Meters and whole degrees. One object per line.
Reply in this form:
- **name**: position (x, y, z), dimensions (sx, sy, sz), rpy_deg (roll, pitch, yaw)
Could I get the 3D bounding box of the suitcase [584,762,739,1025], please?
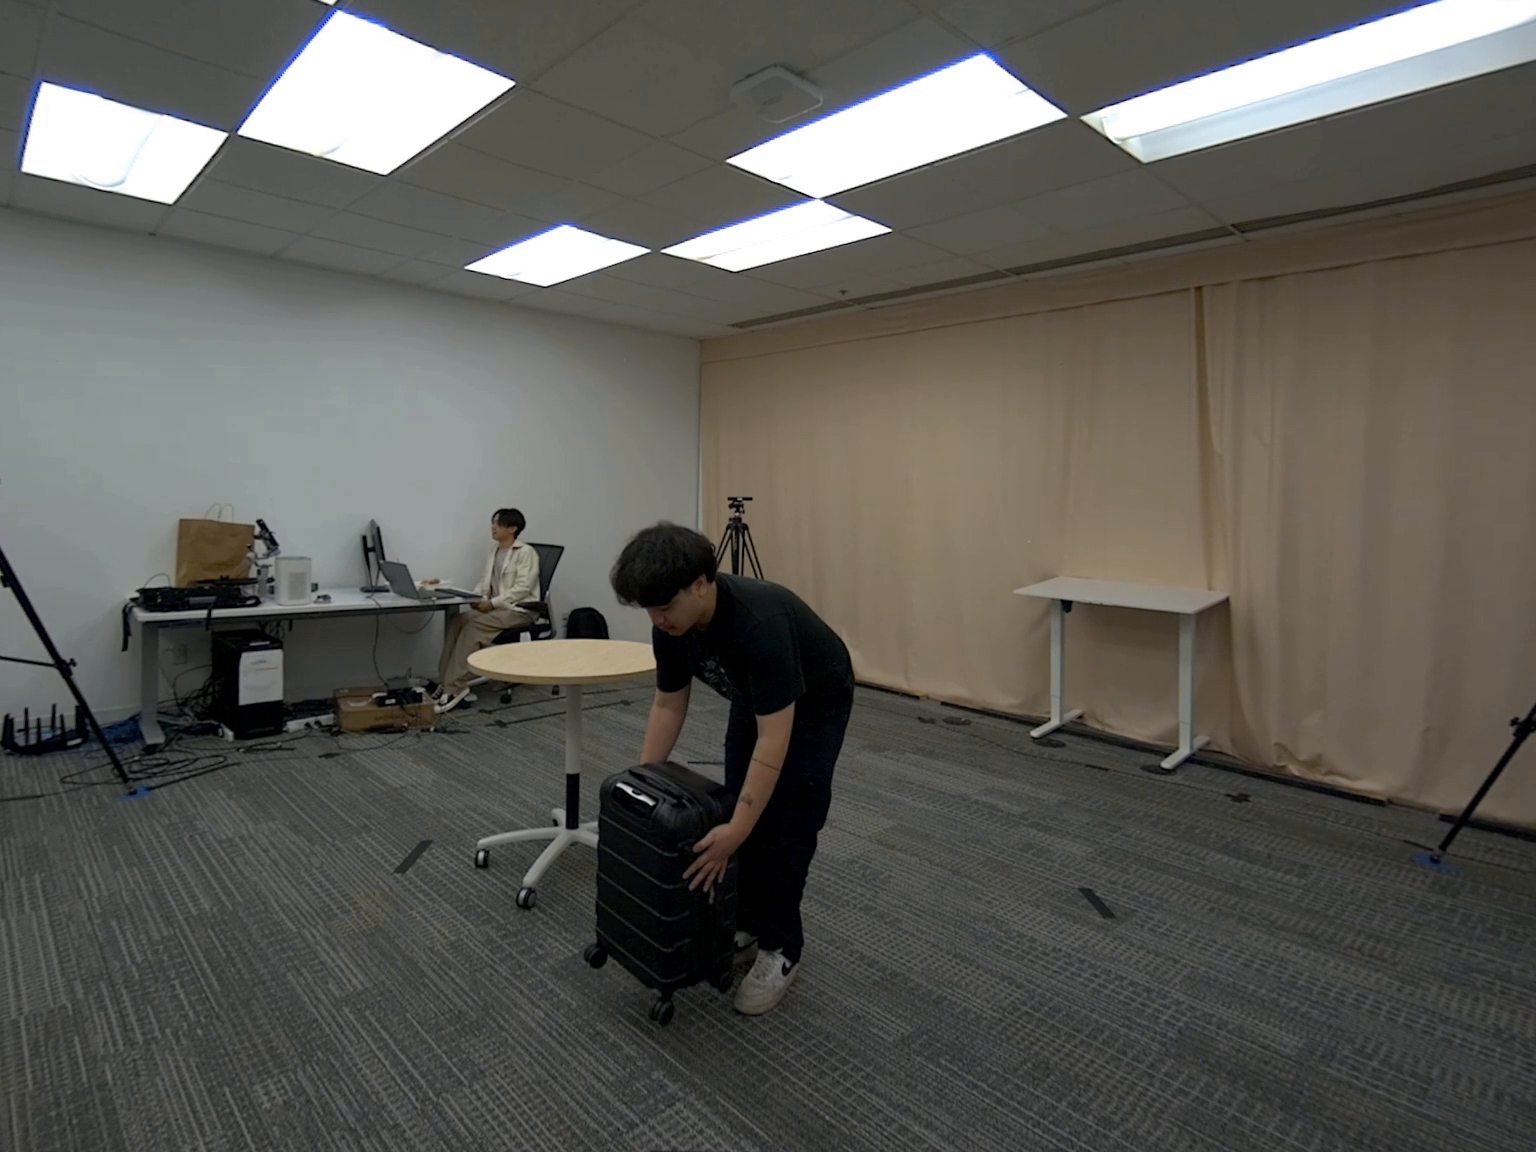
- **suitcase**: position (-0.272, 0.800, 2.222), dimensions (0.242, 0.547, 0.385), rpy_deg (-1, 7, -43)
